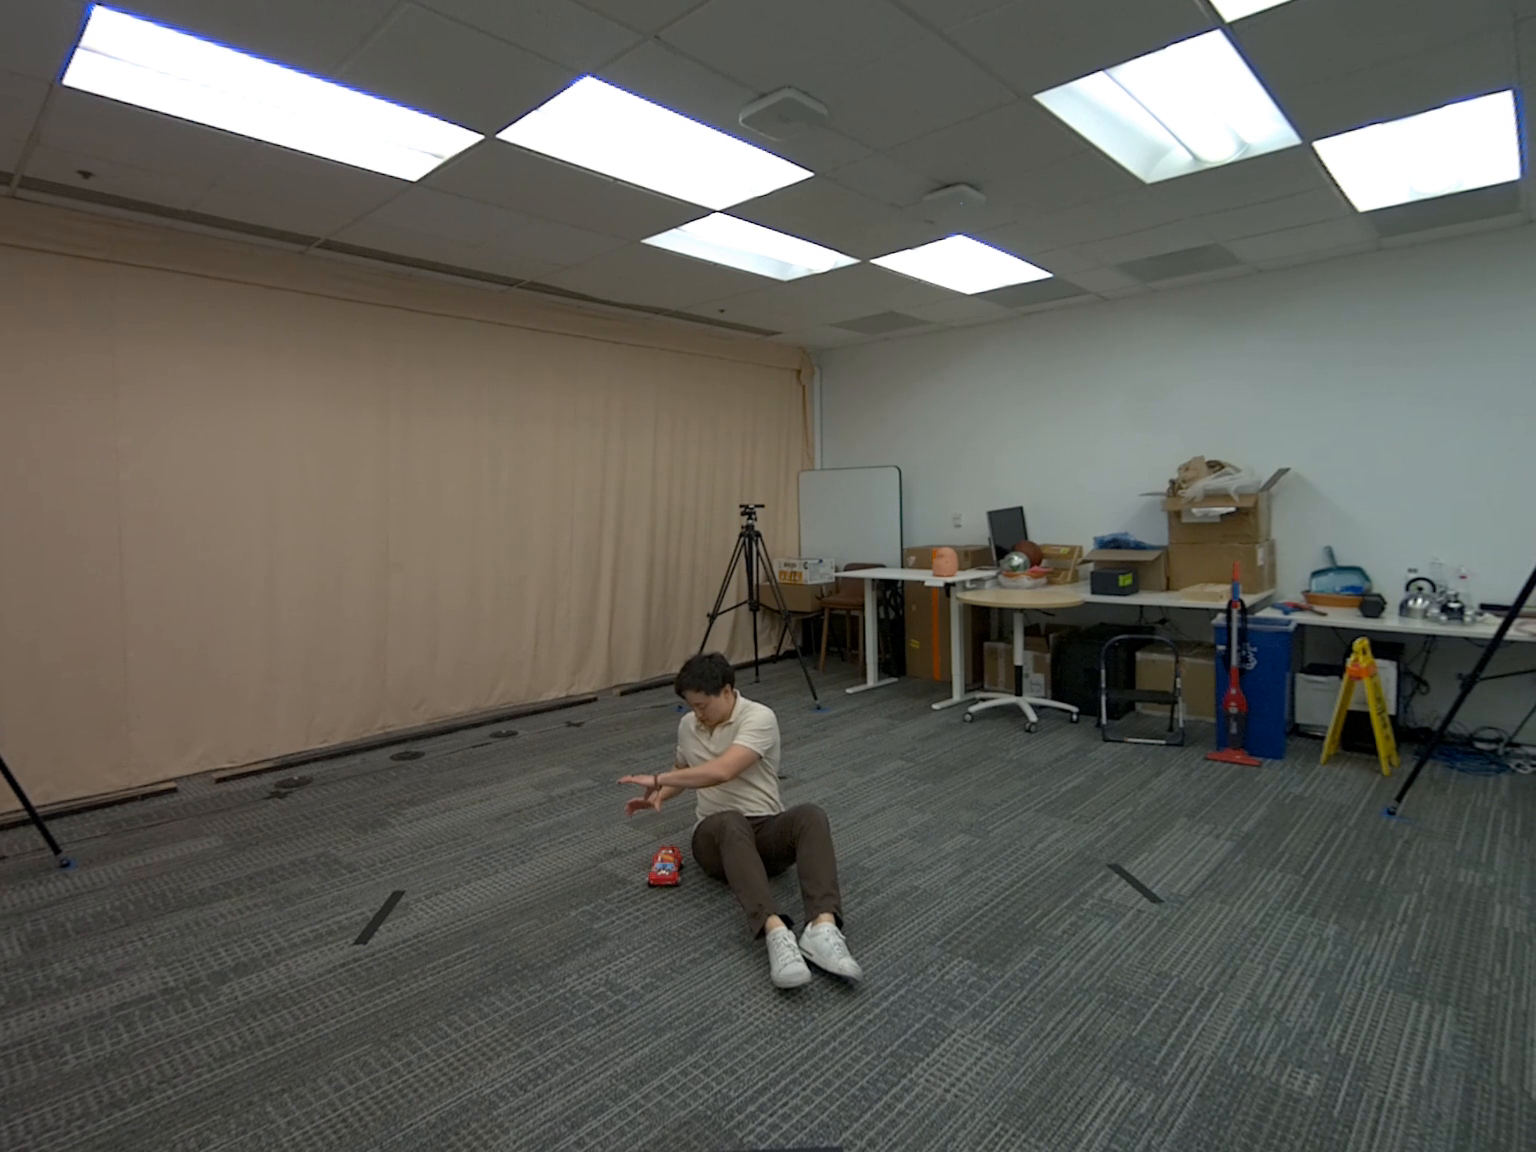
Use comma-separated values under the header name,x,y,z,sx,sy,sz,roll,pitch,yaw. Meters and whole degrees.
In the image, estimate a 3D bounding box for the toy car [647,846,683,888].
name,x,y,z,sx,sy,sz,roll,pitch,yaw
toy car,-0.384,1.106,3.188,0.130,0.082,0.257,-2,16,-1
